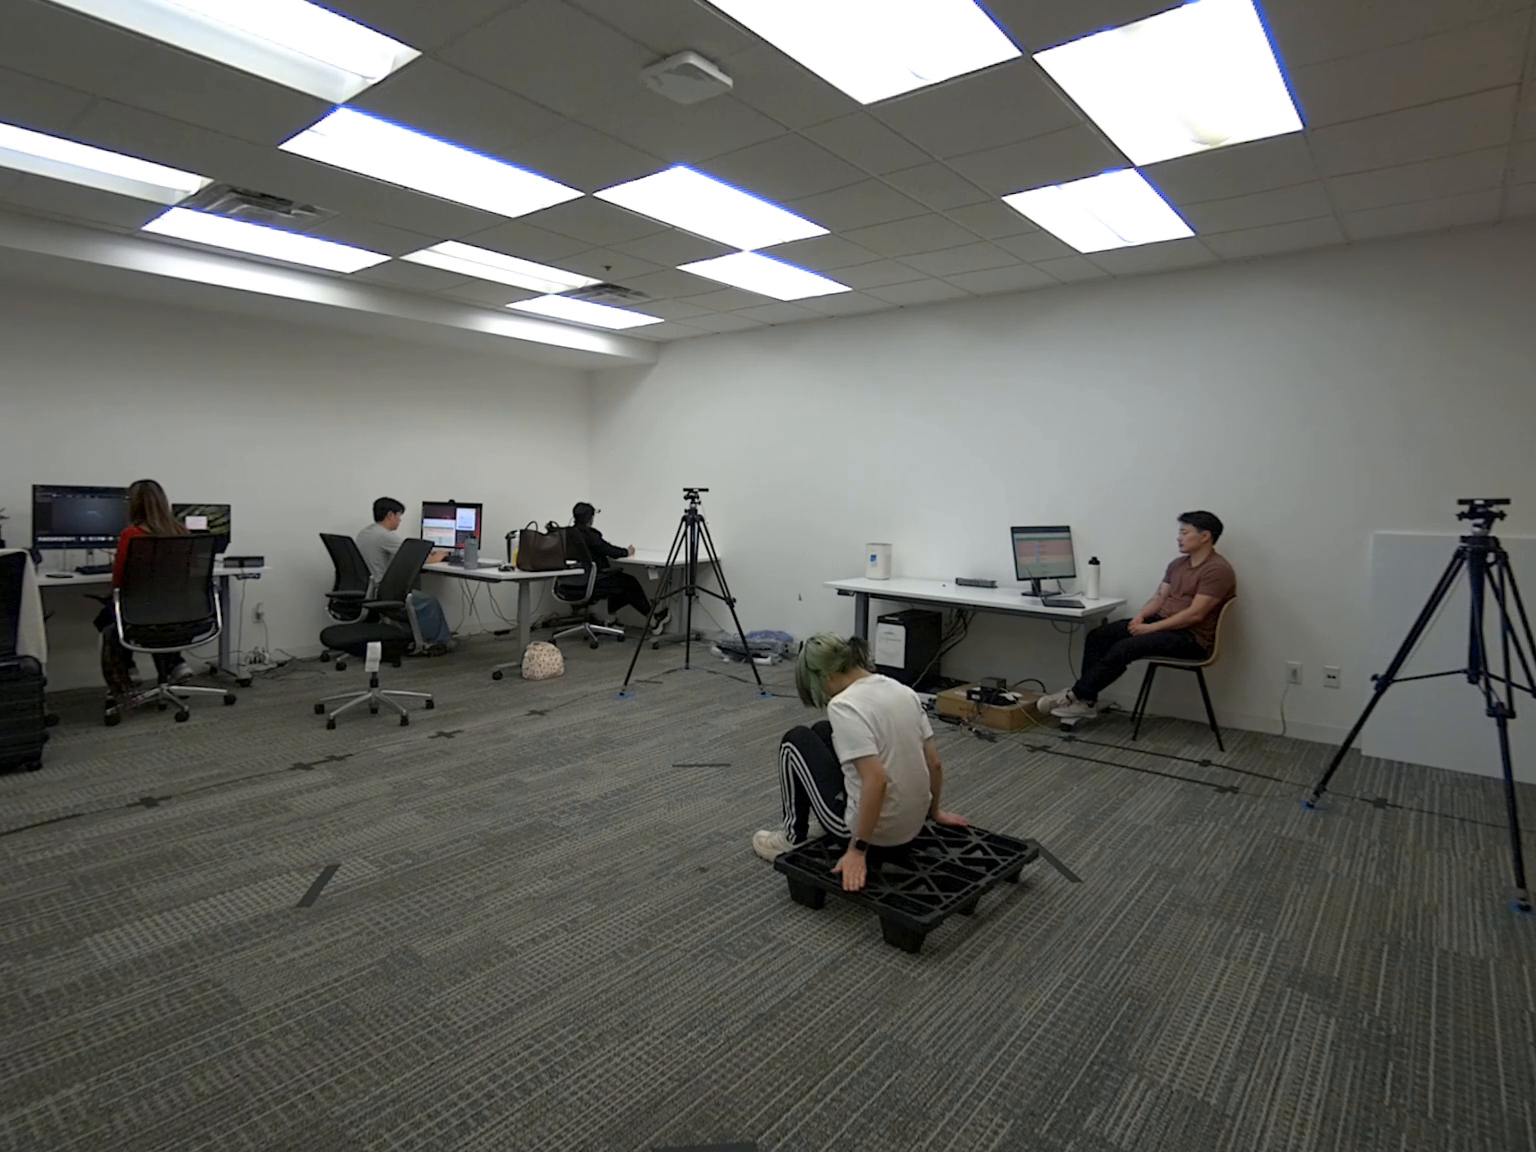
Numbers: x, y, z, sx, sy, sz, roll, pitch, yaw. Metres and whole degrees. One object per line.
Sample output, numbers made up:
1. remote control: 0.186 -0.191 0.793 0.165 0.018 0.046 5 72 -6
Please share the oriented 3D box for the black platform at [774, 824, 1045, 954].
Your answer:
1. black platform: 0.483 1.030 2.984 0.626 0.143 0.781 5 6 42
